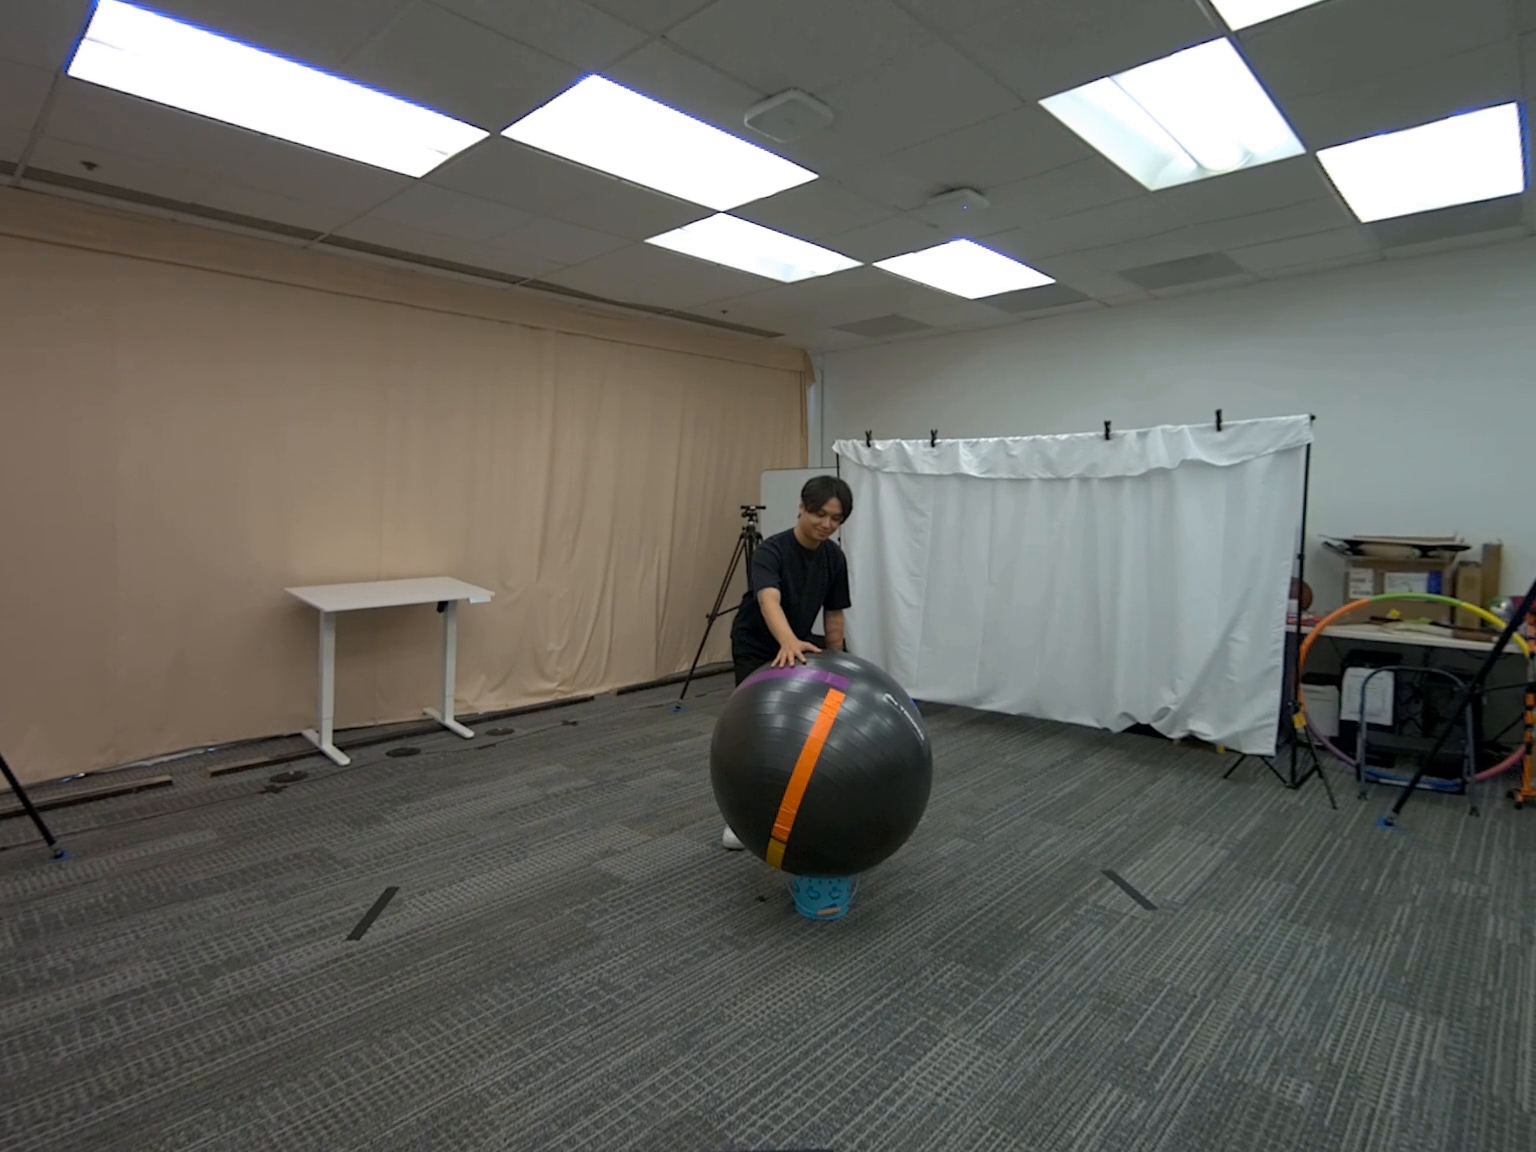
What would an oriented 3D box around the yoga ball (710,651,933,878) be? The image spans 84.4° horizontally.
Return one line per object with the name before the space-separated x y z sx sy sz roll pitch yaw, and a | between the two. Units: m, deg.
yoga ball | 0.183 0.643 2.892 0.757 0.756 0.760 0 4 -2
